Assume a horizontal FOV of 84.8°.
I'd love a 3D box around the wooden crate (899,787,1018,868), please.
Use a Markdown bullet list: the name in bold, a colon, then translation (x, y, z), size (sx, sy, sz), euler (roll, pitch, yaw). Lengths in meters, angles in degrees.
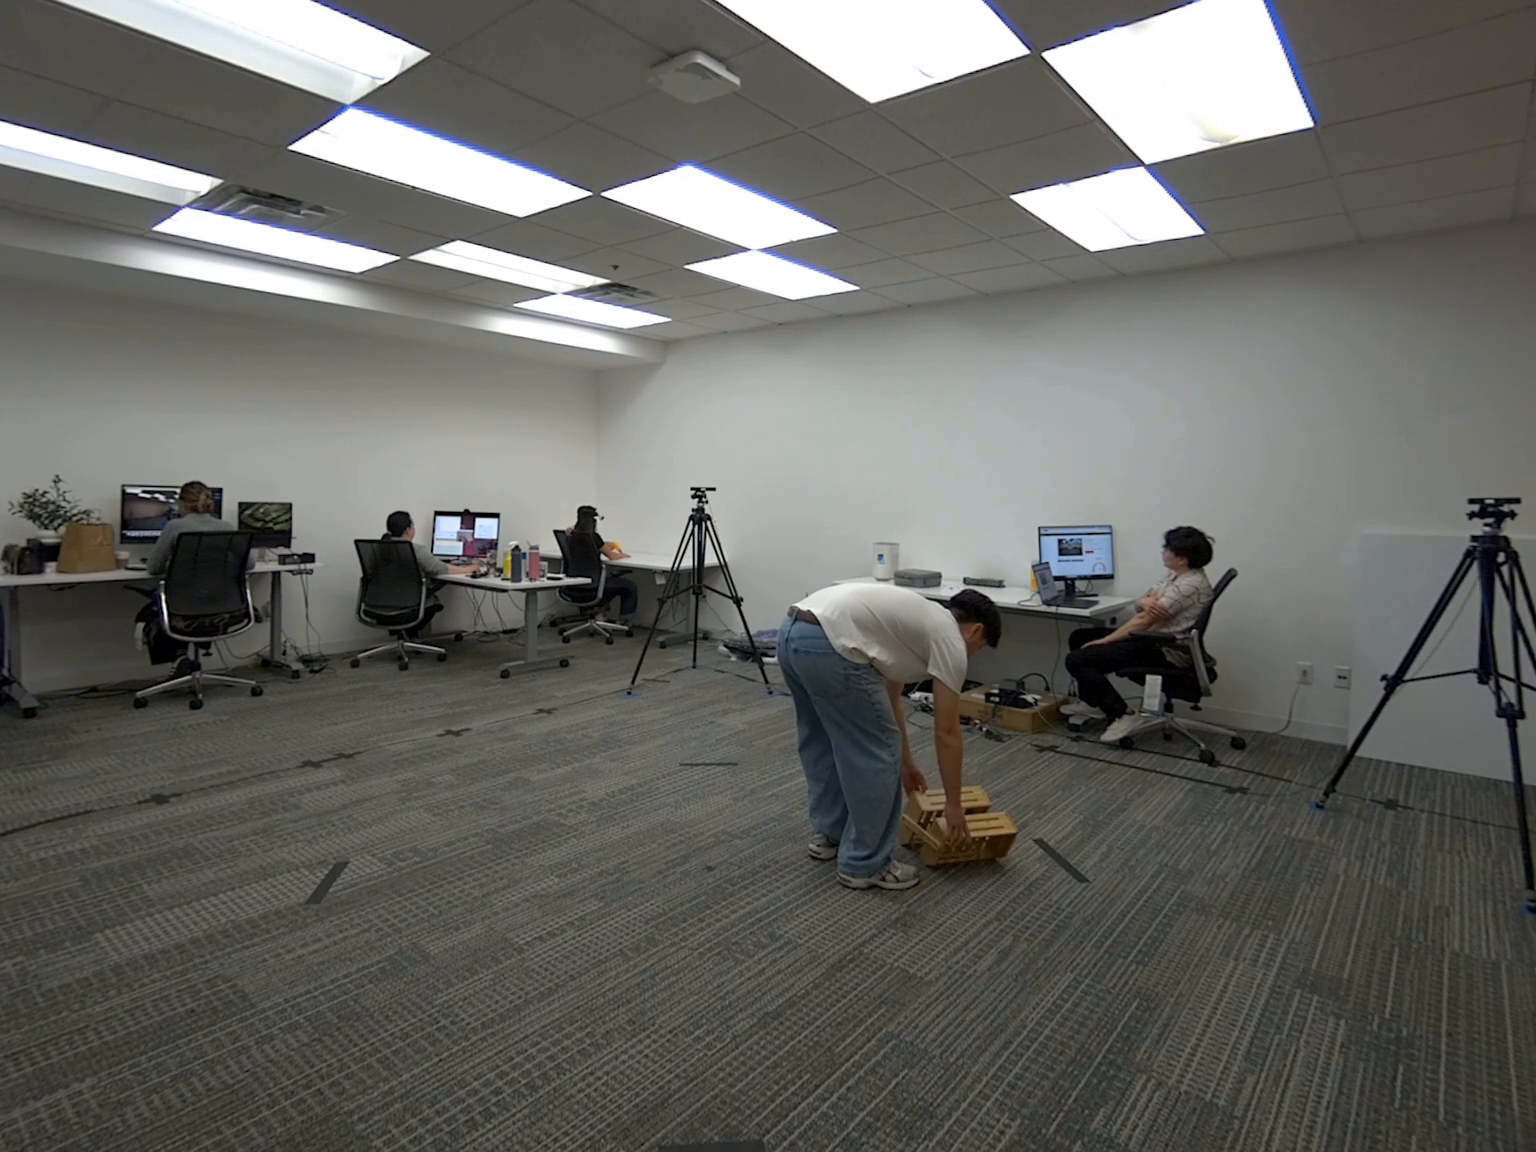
- **wooden crate**: translation (0.713, 0.981, 3.260), size (0.319, 0.296, 0.284), euler (-1, 32, -18)
